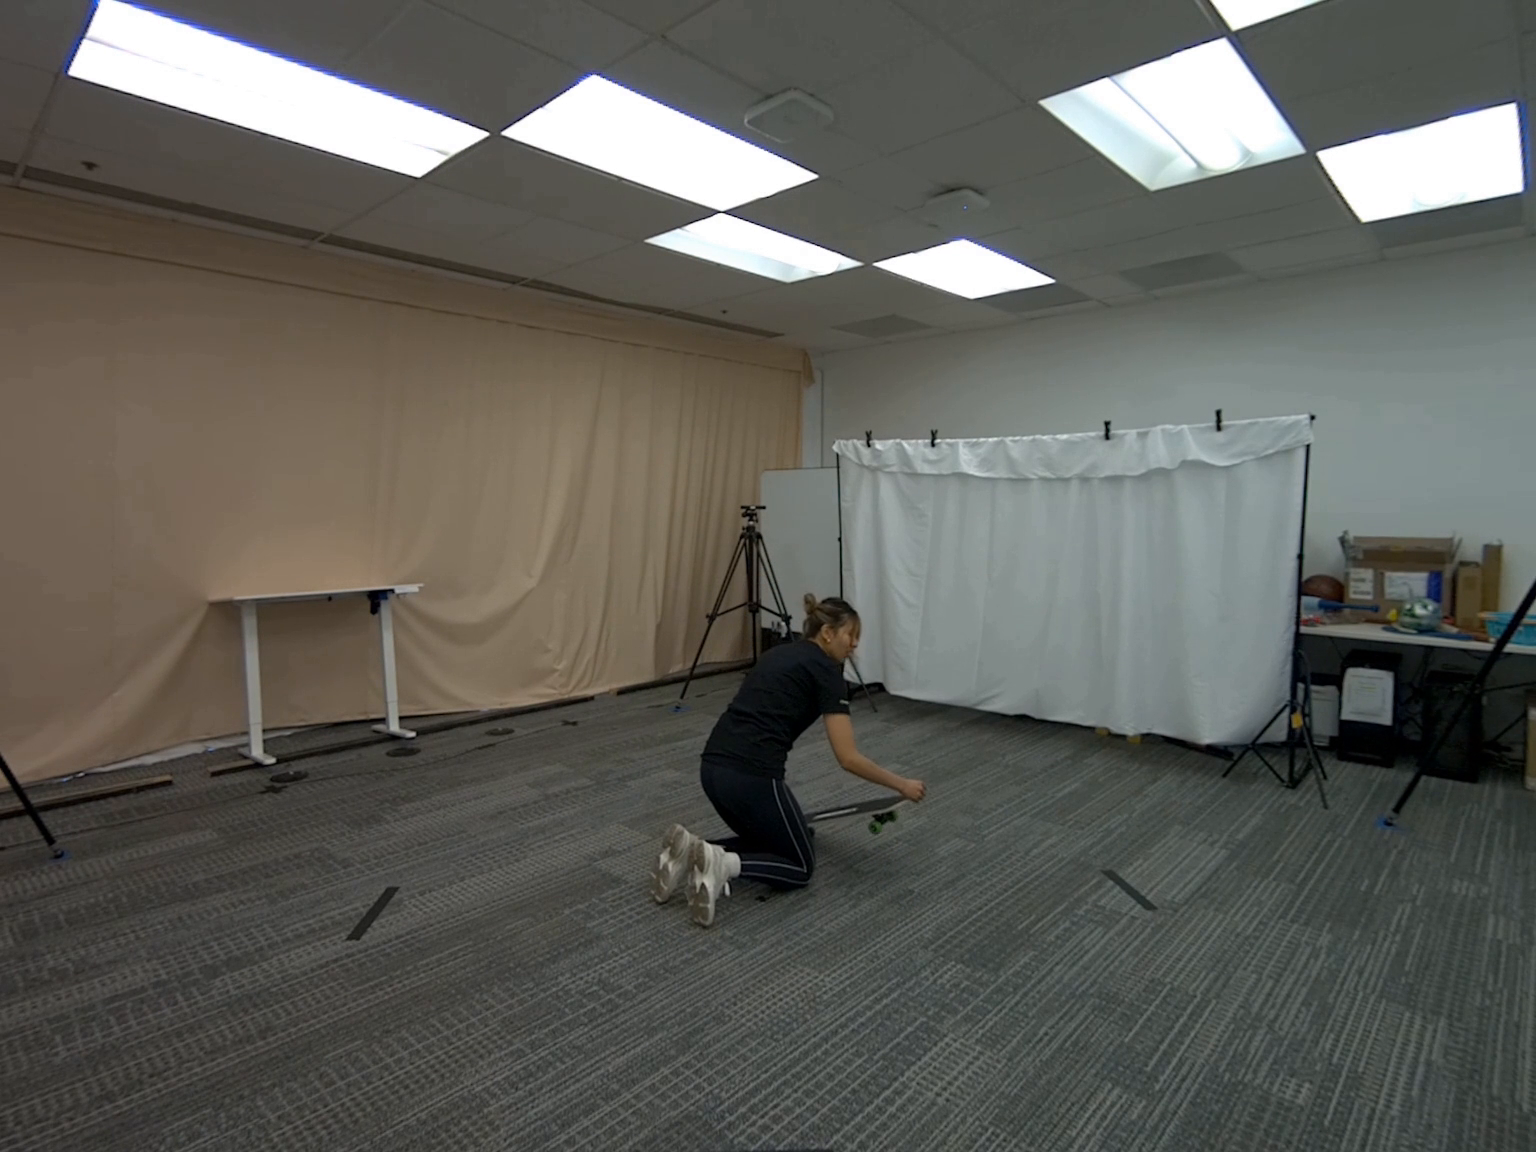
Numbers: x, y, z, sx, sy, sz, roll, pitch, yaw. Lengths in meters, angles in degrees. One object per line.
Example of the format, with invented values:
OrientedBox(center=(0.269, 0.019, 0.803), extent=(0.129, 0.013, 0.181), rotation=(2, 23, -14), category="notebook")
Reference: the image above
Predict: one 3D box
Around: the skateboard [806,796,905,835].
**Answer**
OrientedBox(center=(0.277, 0.981, 3.372), extent=(0.801, 0.111, 0.188), rotation=(-22, -8, 33), category="skateboard")
